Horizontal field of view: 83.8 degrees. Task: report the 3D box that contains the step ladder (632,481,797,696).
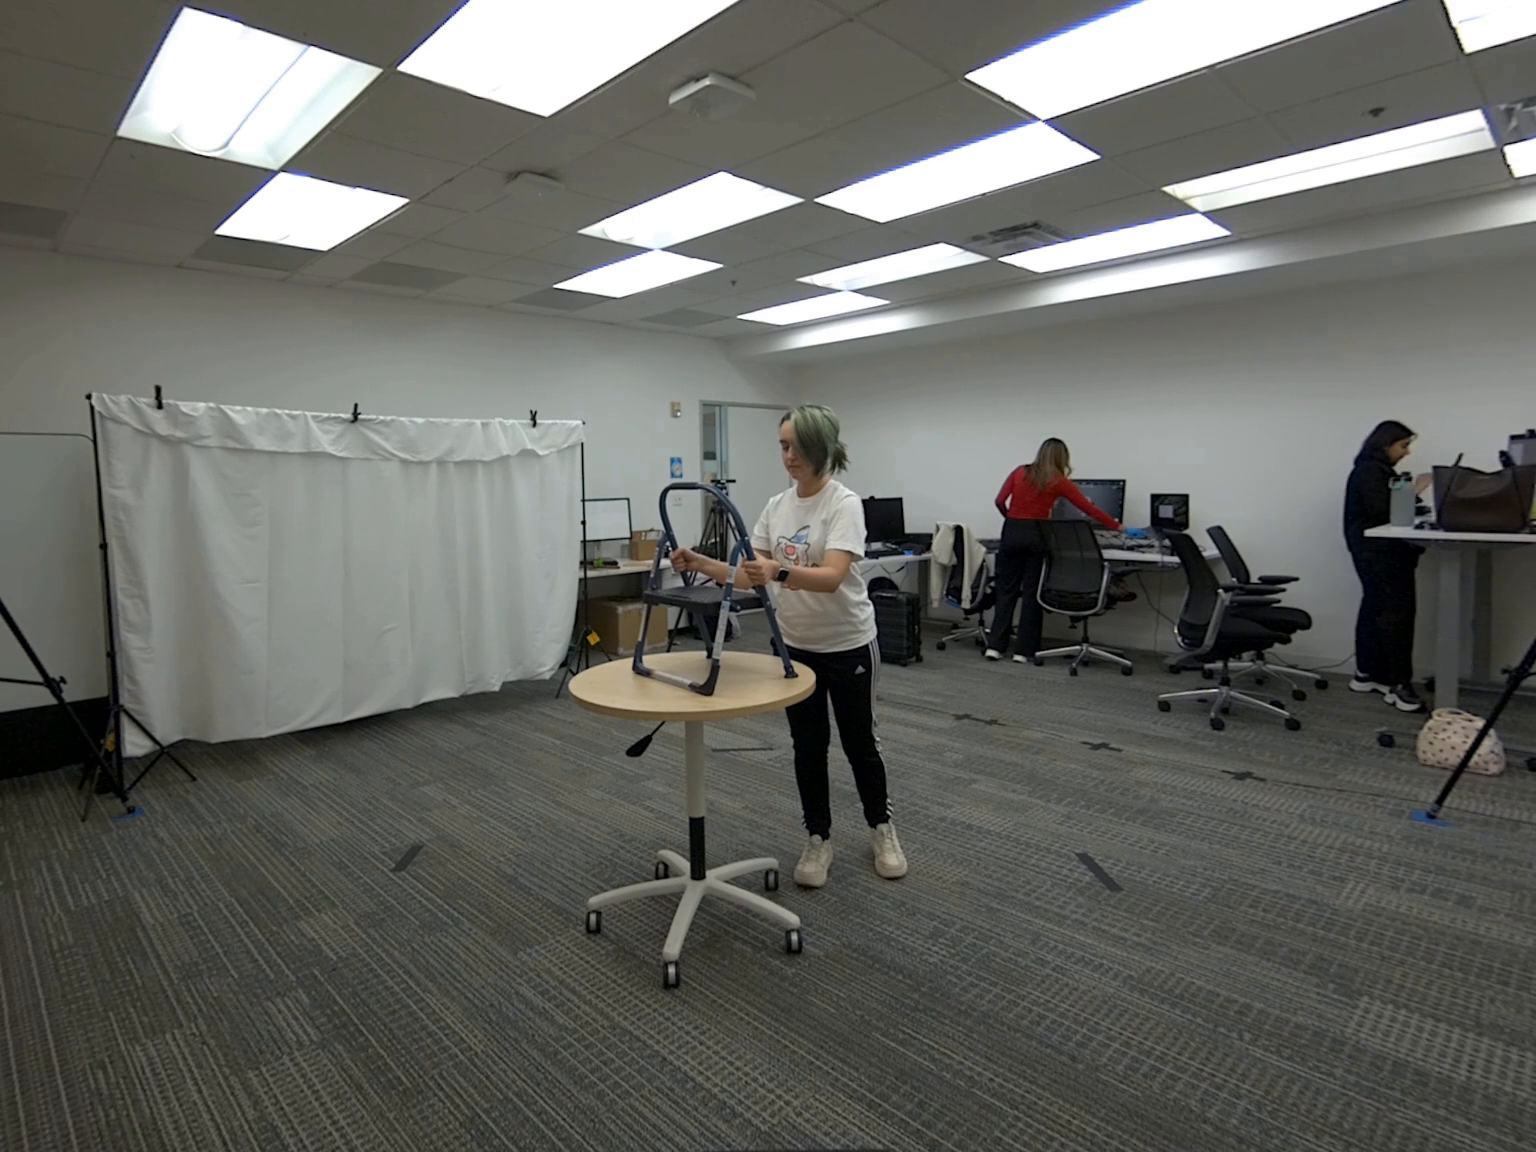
[{"bbox_3d":[-0.187,0.011,2.671,0.340,0.604,0.444,-4,5,-40],"label":"step ladder"}]
